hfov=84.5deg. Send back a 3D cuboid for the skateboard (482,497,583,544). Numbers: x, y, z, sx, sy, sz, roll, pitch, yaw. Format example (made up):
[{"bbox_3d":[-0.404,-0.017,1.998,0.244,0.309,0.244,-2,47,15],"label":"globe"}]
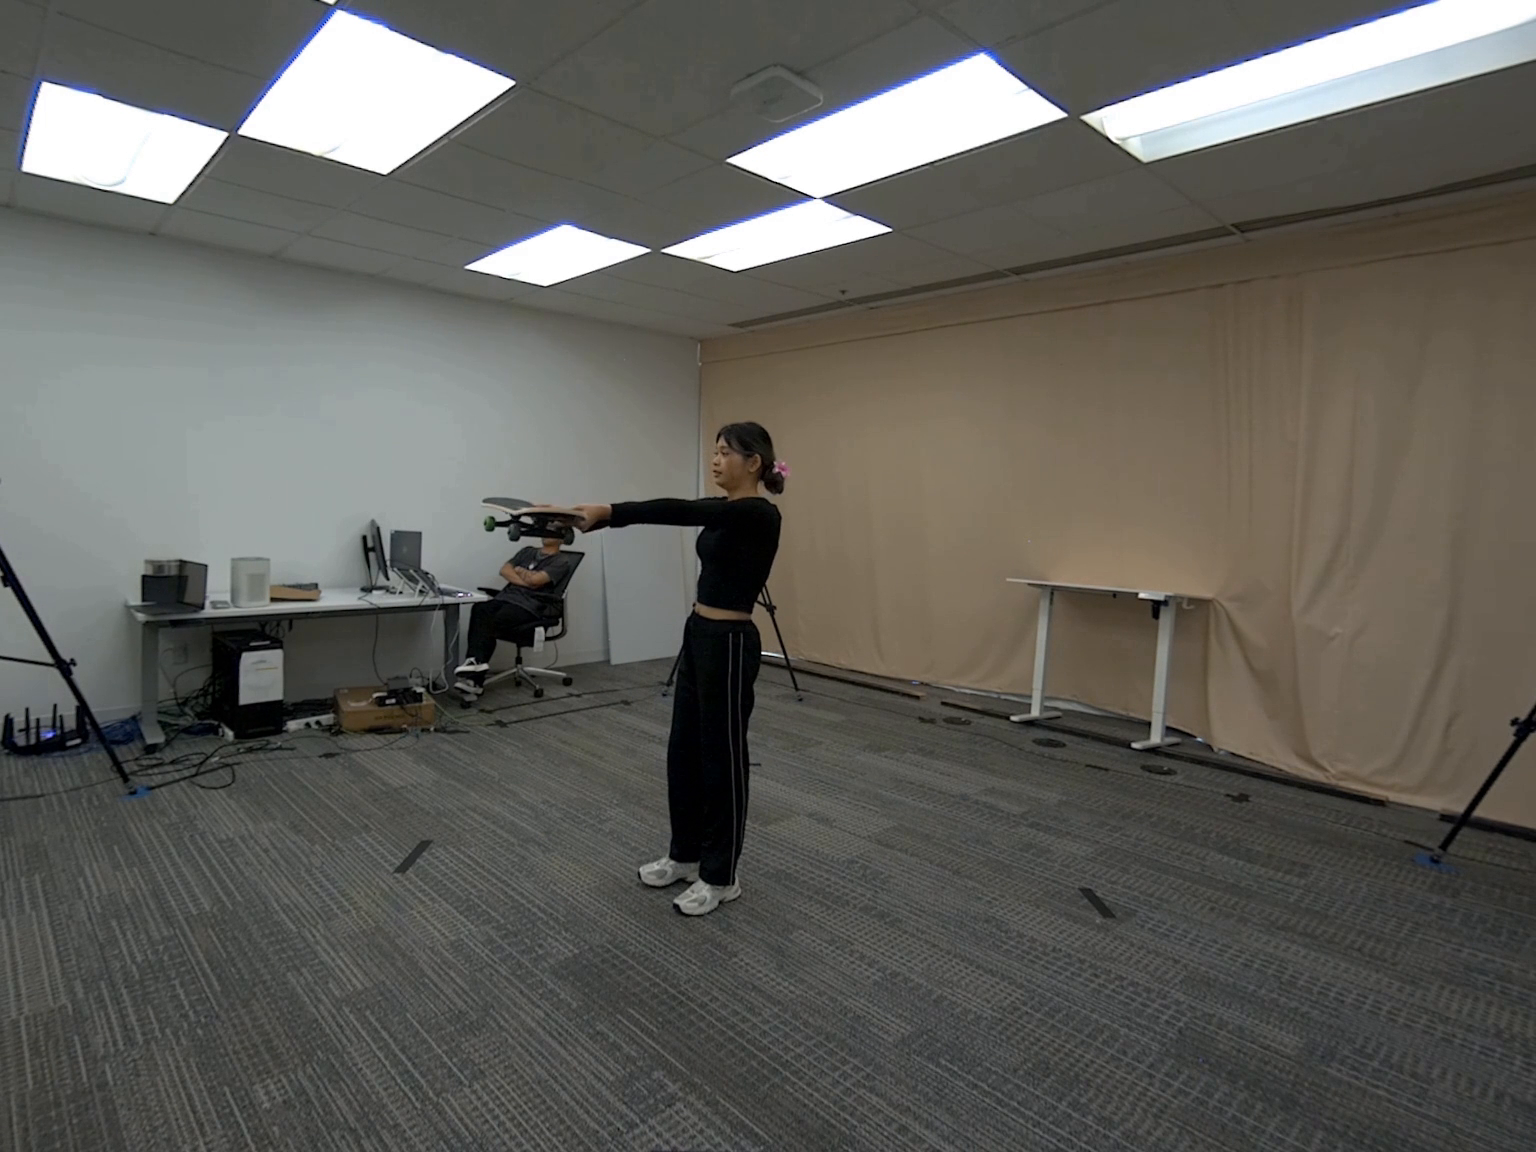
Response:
[{"bbox_3d":[-0.738,-0.172,2.578,0.189,0.110,0.803,2,6,-28],"label":"skateboard"}]
